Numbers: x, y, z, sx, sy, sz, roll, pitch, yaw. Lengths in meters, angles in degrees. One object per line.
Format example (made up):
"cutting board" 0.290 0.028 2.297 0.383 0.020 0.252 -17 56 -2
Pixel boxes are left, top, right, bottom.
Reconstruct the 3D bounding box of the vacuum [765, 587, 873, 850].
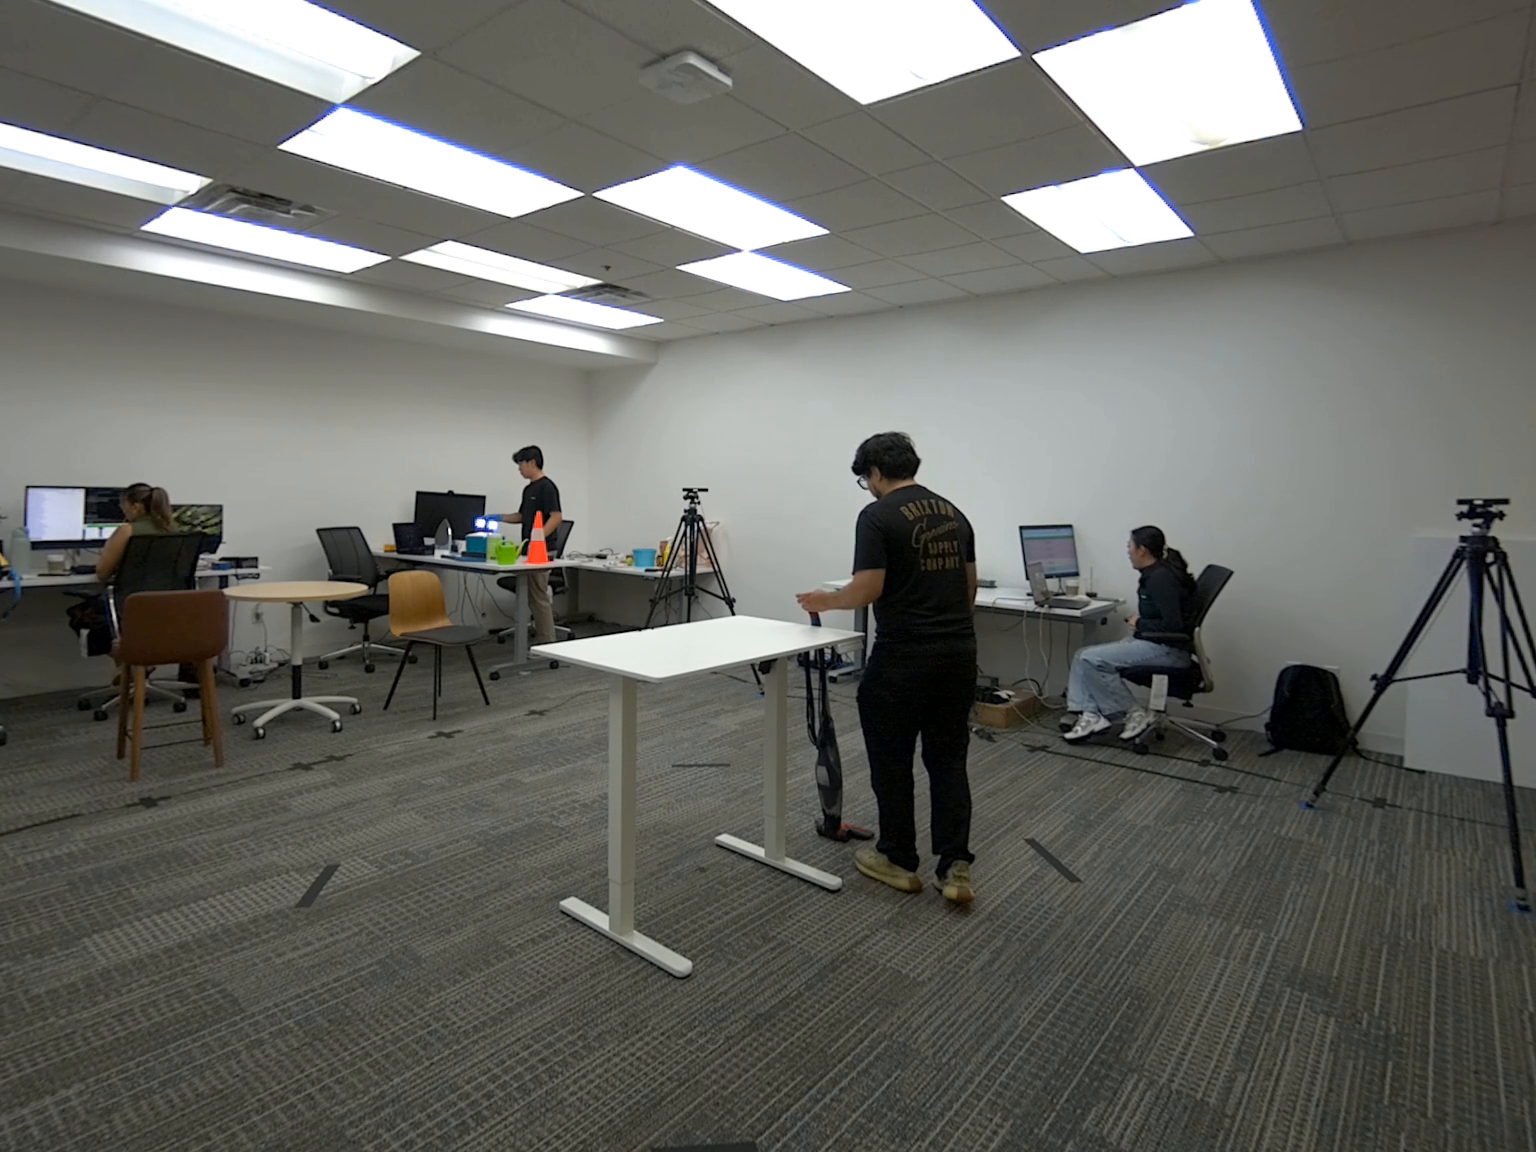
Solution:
"vacuum" 0.209 0.562 3.300 0.260 1.029 0.142 3 21 32
